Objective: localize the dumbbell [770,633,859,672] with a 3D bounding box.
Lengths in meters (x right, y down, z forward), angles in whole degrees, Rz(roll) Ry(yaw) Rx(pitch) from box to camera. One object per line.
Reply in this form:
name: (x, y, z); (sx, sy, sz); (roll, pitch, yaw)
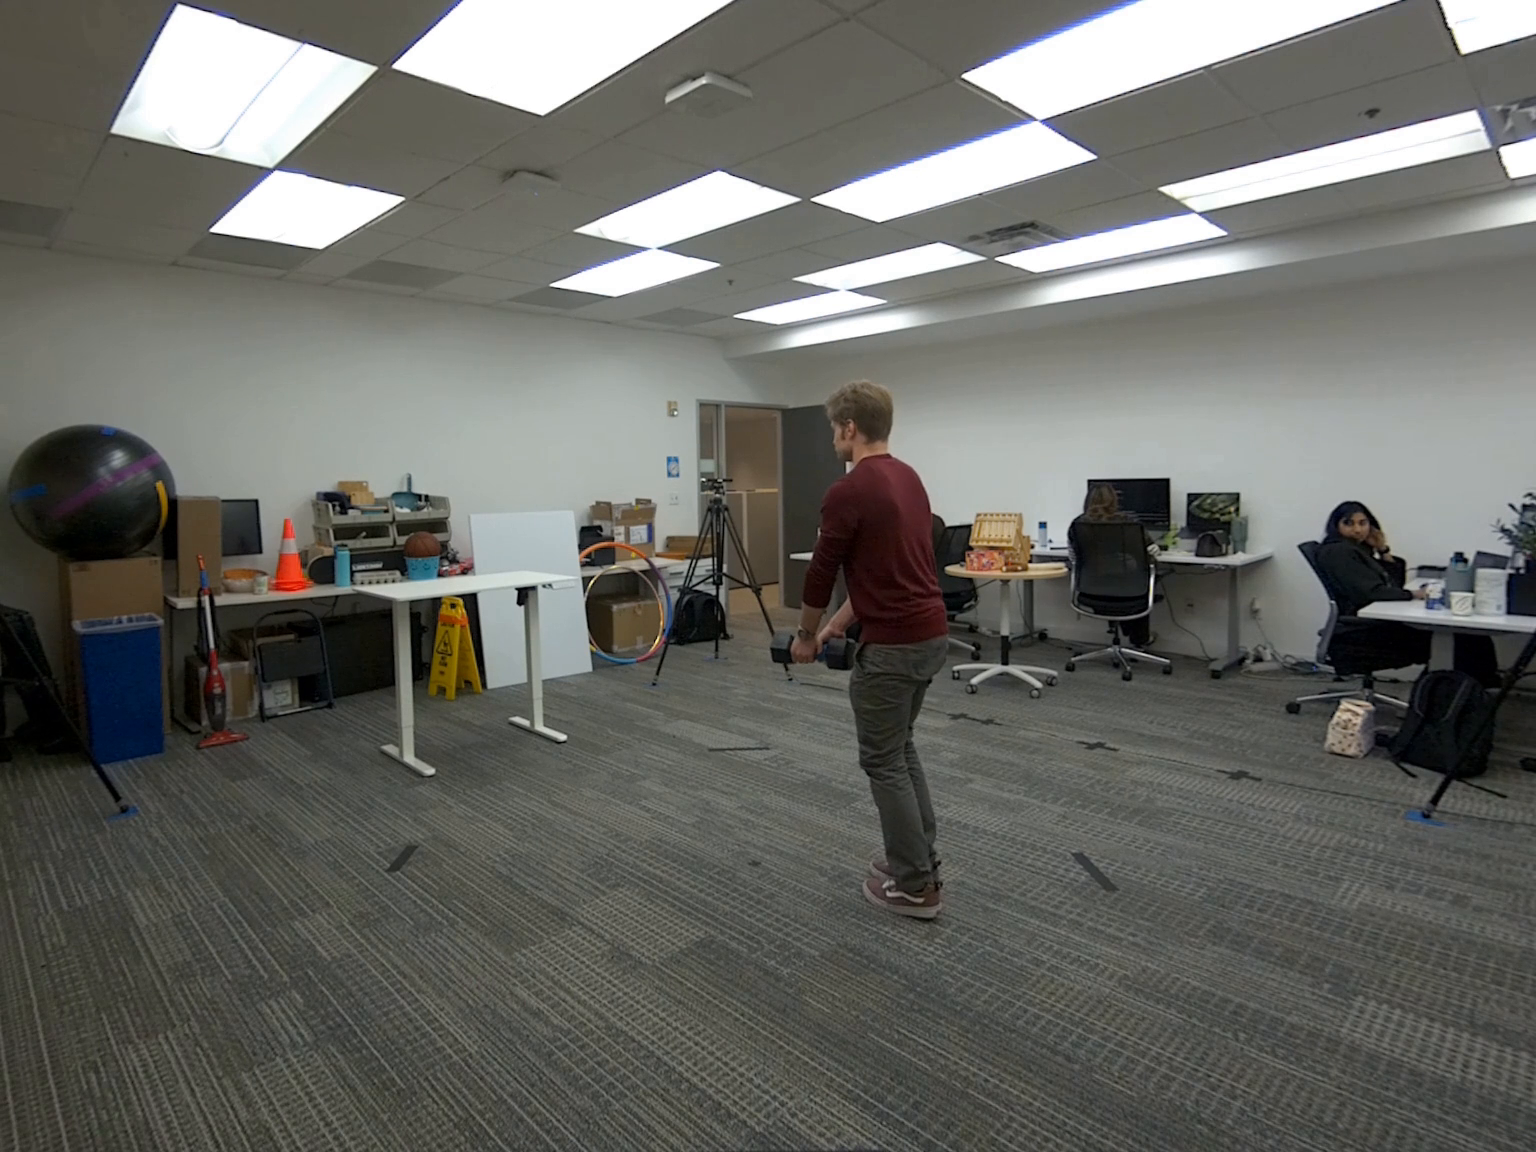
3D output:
dumbbell: (0.164, 0.259, 3.009); (0.301, 0.124, 0.104); (4, -33, 29)
